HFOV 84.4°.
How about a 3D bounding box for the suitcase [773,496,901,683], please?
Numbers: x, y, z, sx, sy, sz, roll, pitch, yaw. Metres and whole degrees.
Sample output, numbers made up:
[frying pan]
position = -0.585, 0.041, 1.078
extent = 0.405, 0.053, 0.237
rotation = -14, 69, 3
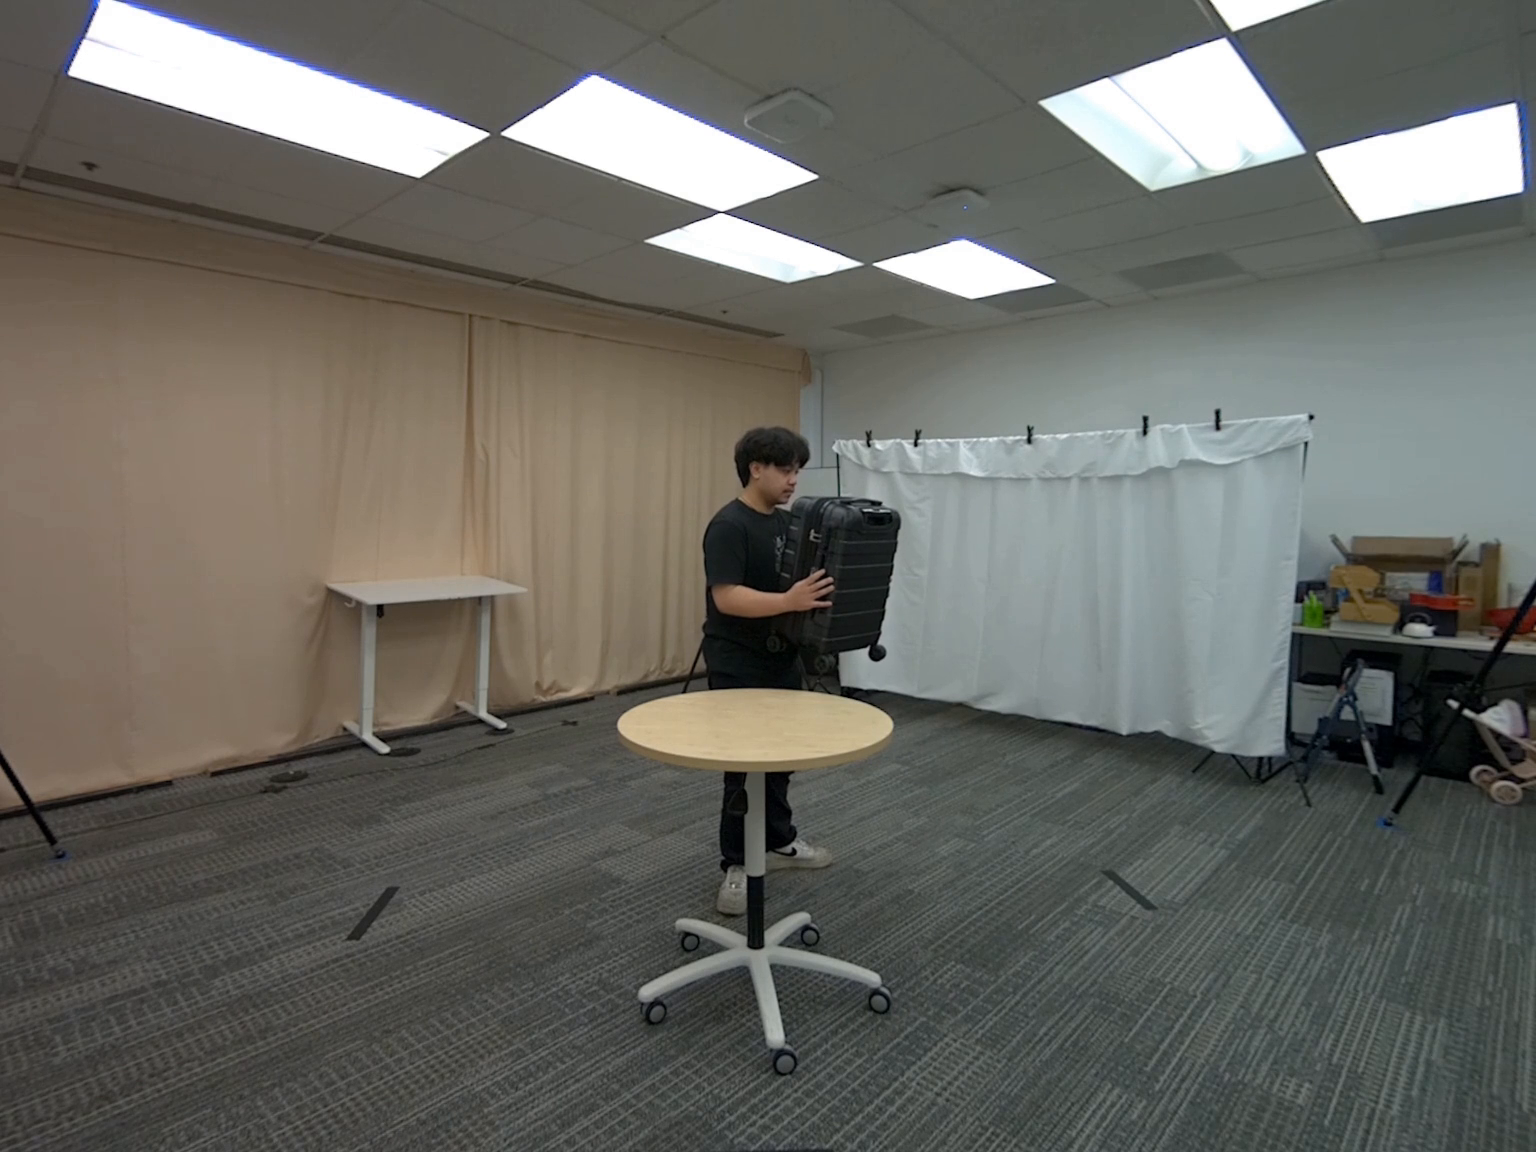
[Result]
[suitcase]
position = 0.245, 0.009, 2.847
extent = 0.257, 0.547, 0.363
rotation = 18, 12, 42
